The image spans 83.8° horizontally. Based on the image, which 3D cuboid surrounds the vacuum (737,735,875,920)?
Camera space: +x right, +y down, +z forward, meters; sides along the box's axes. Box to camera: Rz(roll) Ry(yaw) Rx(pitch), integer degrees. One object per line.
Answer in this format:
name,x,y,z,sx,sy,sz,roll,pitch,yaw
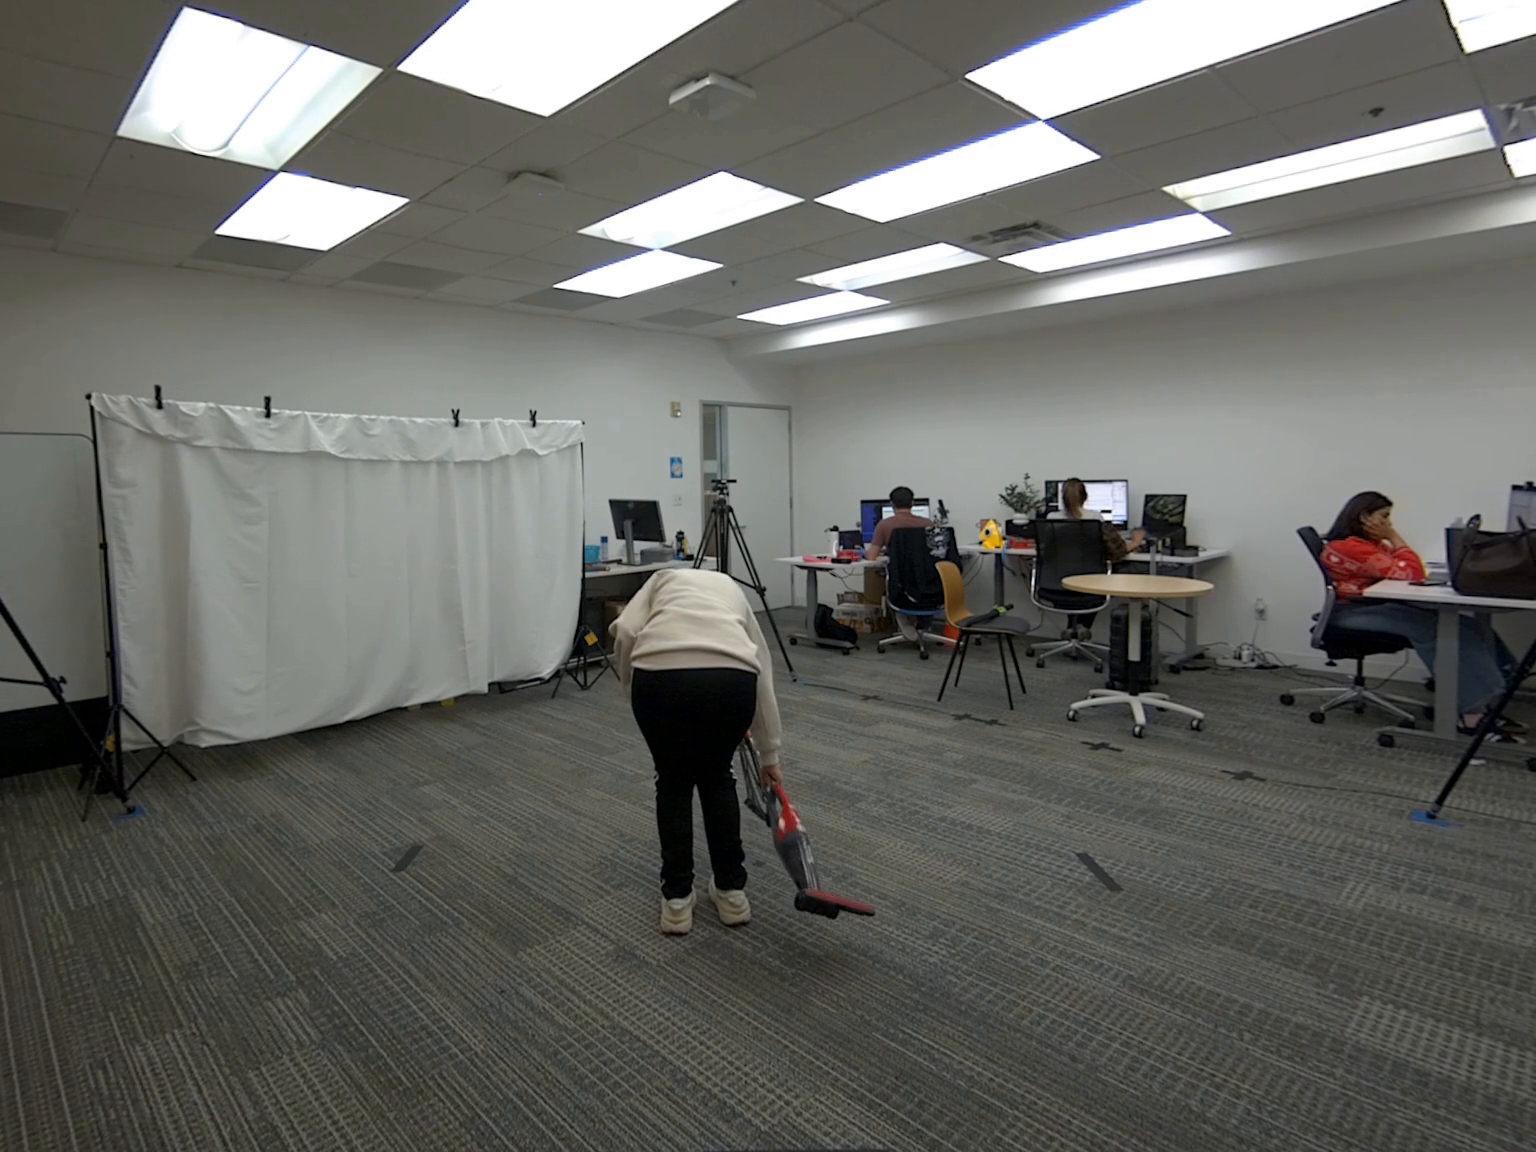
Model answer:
vacuum,0.020,0.772,2.951,0.246,0.143,1.082,24,12,-25
